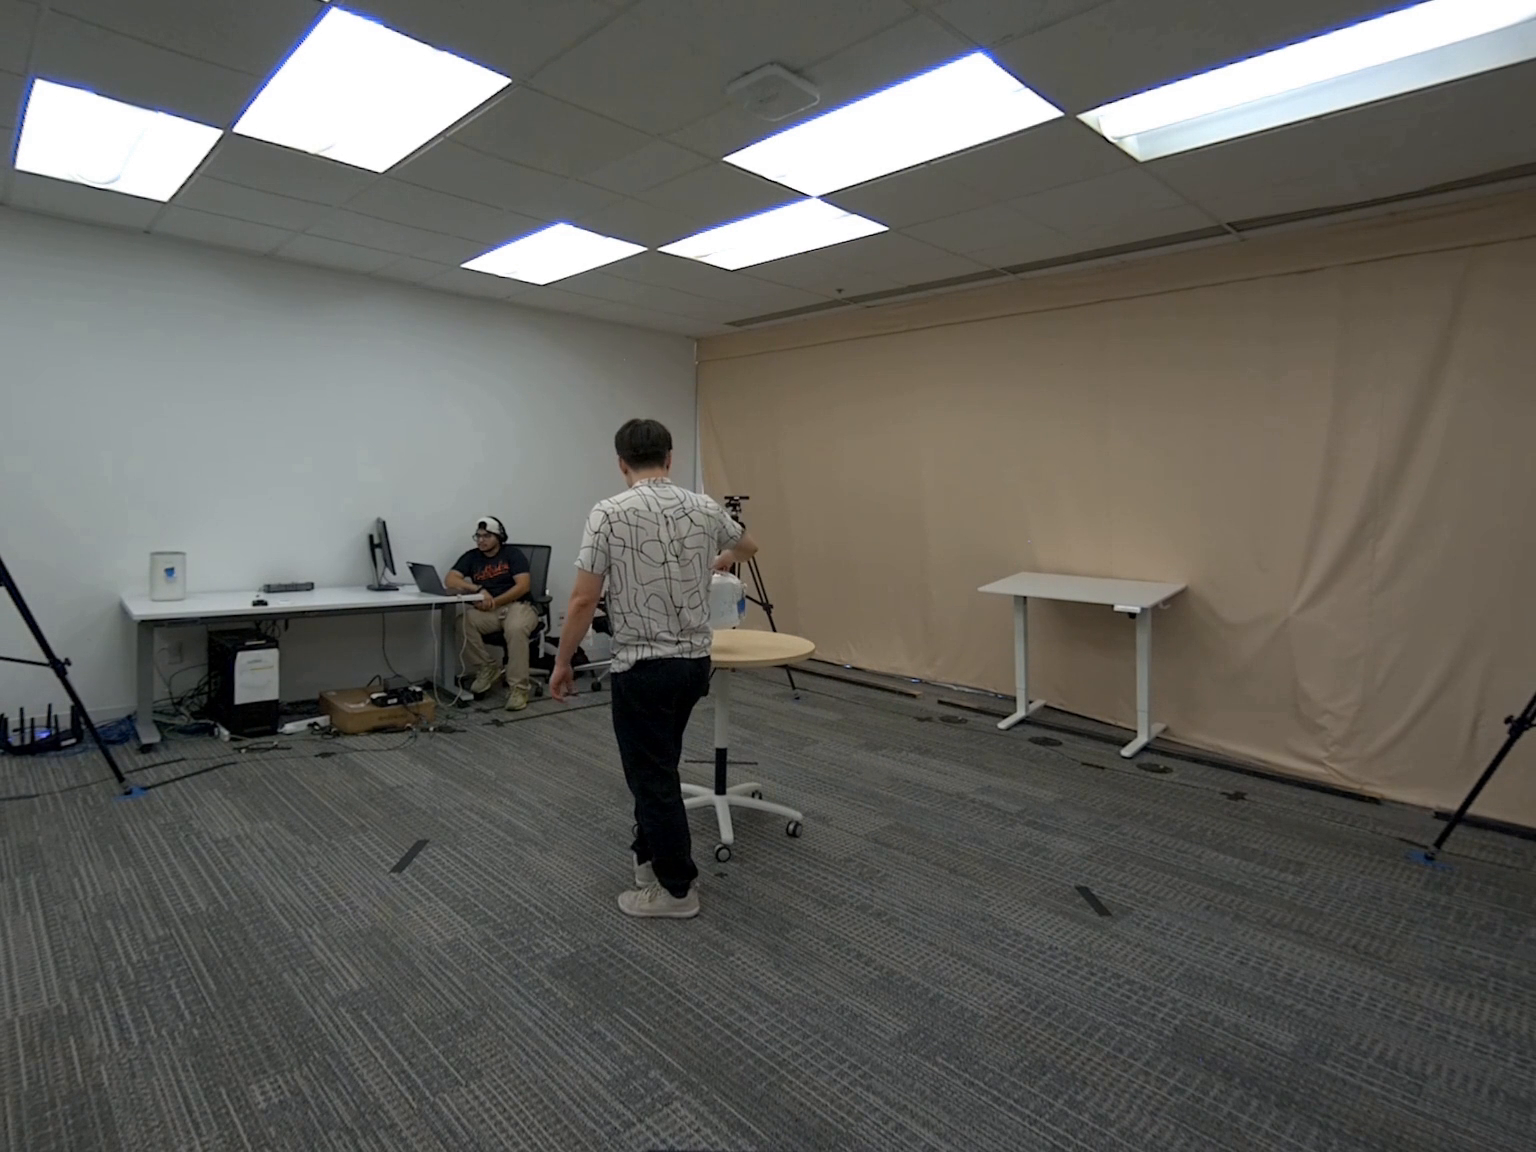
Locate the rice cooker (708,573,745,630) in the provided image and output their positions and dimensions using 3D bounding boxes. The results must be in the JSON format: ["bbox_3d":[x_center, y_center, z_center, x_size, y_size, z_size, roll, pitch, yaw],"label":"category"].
[{"bbox_3d":[-0.217,0.090,3.354,0.224,0.232,0.214,0,5,24],"label":"rice cooker"}]
